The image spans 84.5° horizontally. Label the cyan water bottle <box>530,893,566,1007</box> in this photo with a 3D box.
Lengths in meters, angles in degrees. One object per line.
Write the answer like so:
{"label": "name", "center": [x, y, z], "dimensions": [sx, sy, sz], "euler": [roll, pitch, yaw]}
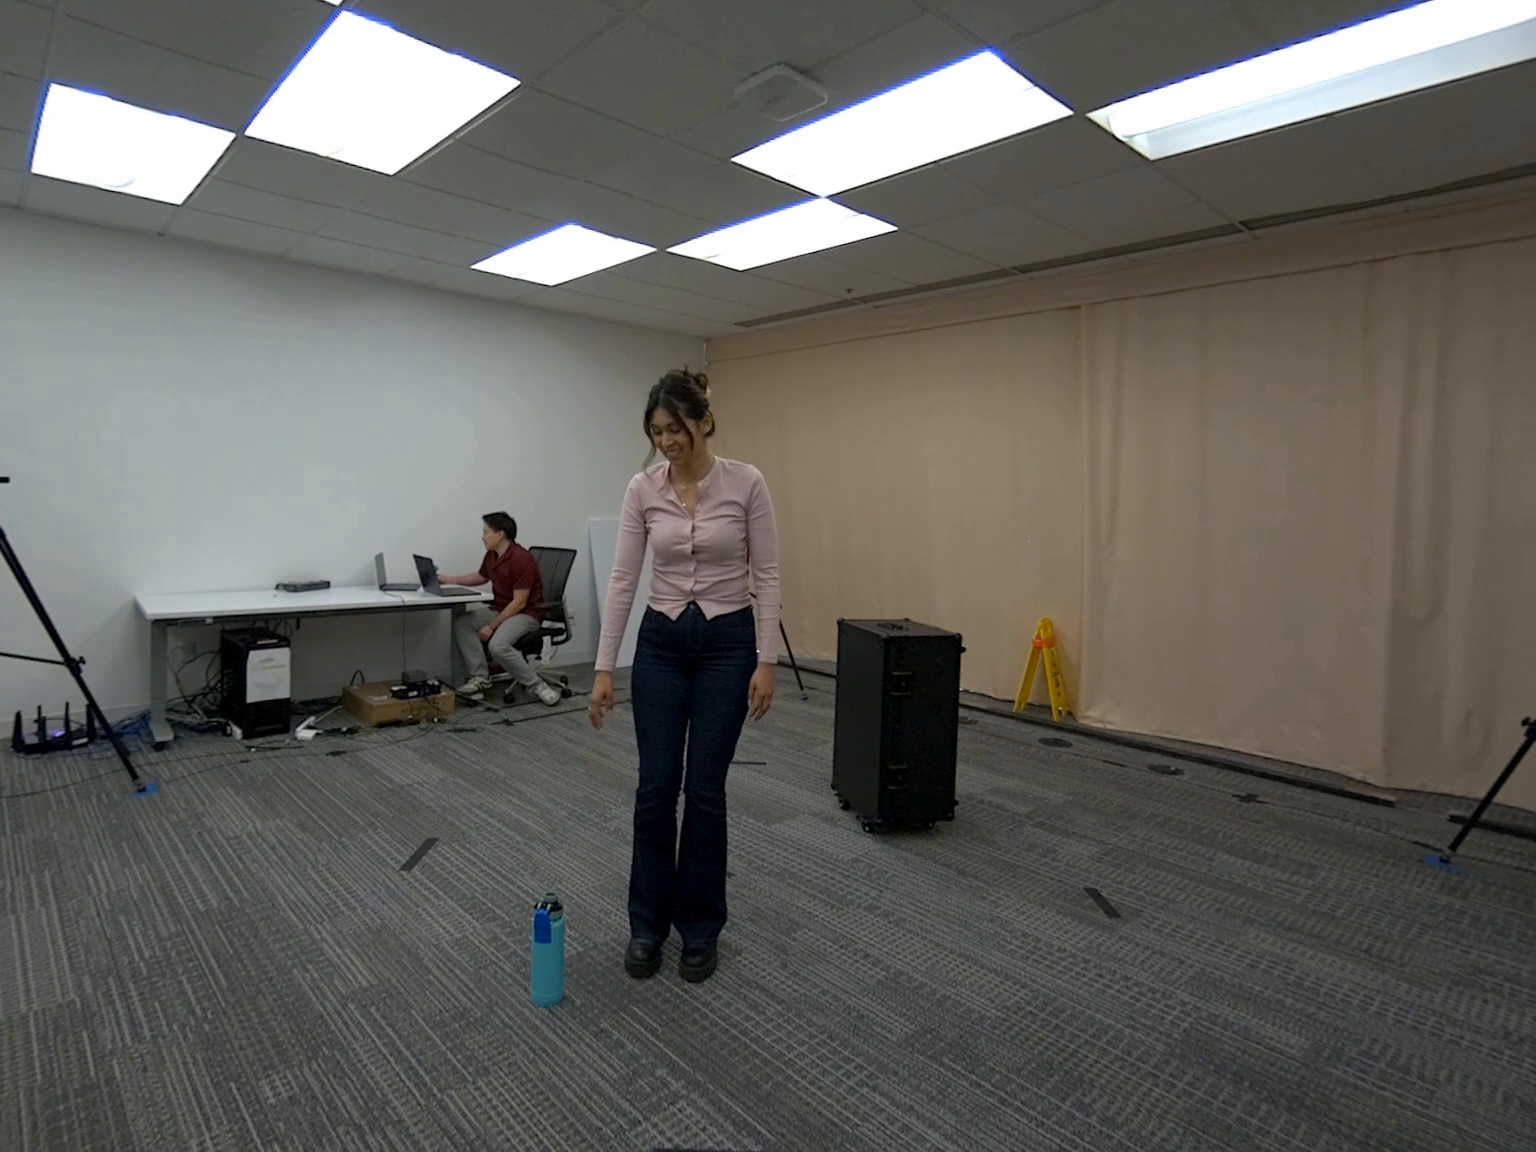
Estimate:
{"label": "cyan water bottle", "center": [-0.615, 1.029, 2.305], "dimensions": [0.092, 0.282, 0.093], "euler": [1, 5, -2]}
